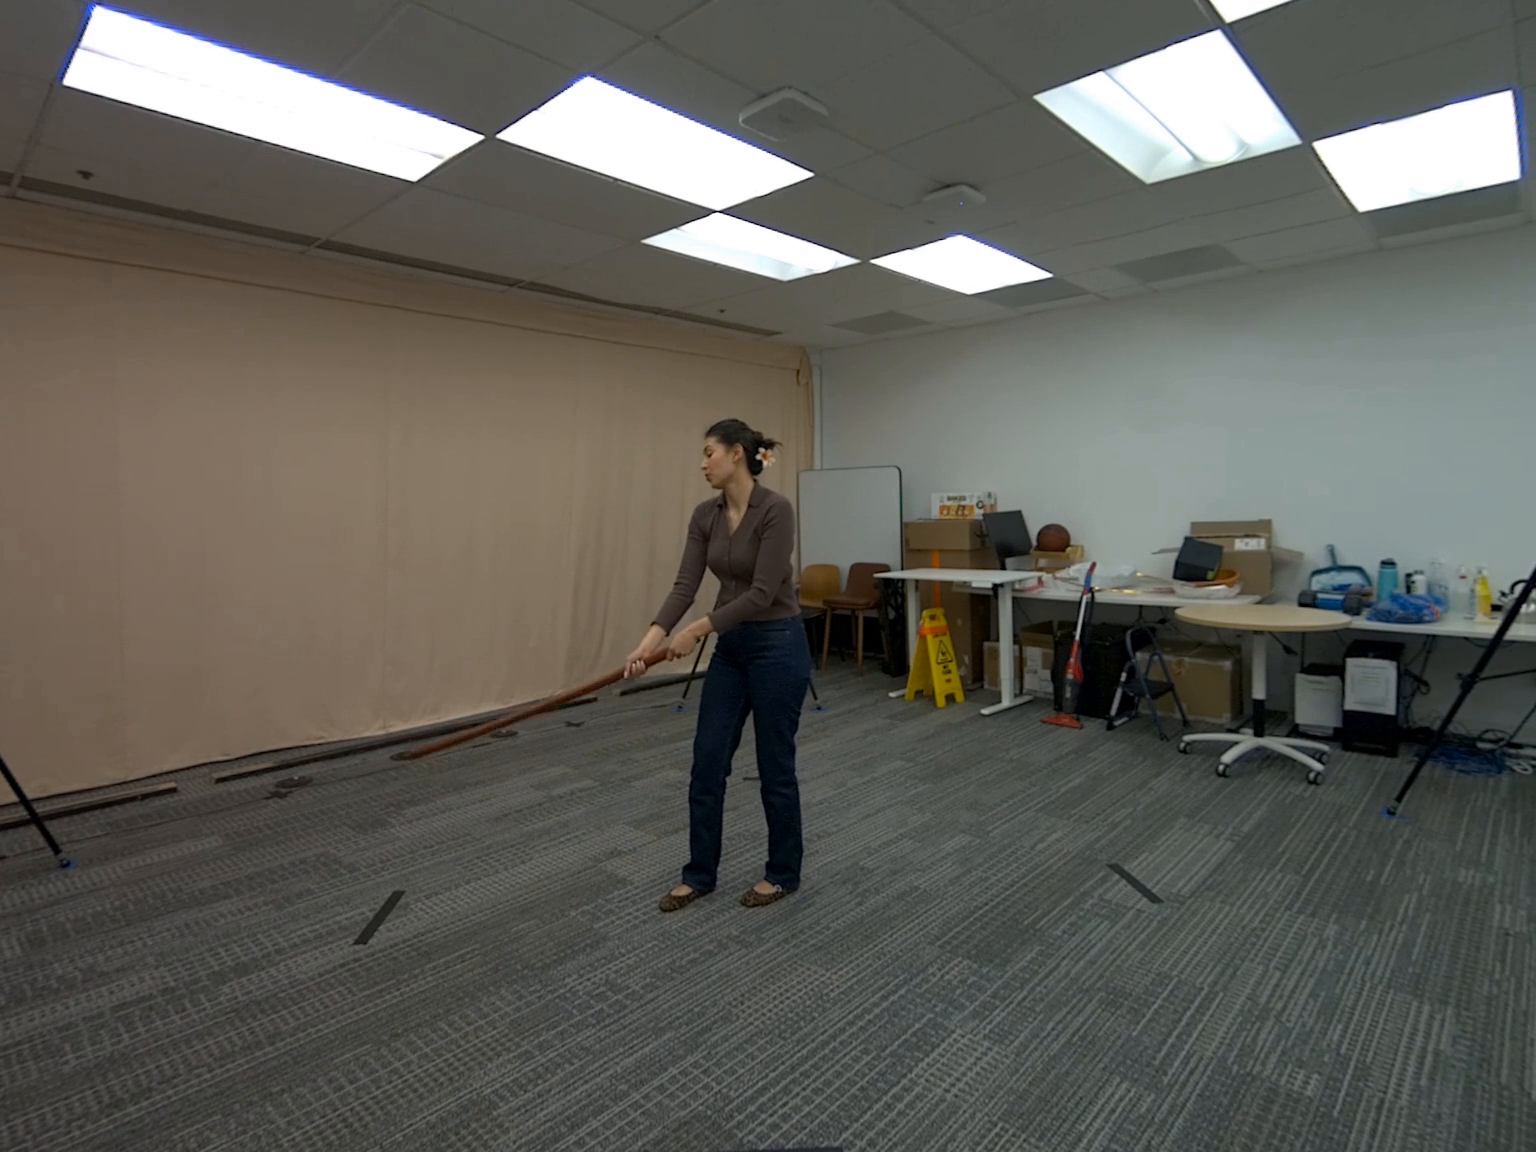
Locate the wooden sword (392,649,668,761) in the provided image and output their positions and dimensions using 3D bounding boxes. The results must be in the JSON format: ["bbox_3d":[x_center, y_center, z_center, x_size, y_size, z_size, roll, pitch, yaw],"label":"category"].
[{"bbox_3d":[-0.723,0.396,2.771,1.022,0.051,0.024,-21,-2,-3],"label":"wooden sword"}]
